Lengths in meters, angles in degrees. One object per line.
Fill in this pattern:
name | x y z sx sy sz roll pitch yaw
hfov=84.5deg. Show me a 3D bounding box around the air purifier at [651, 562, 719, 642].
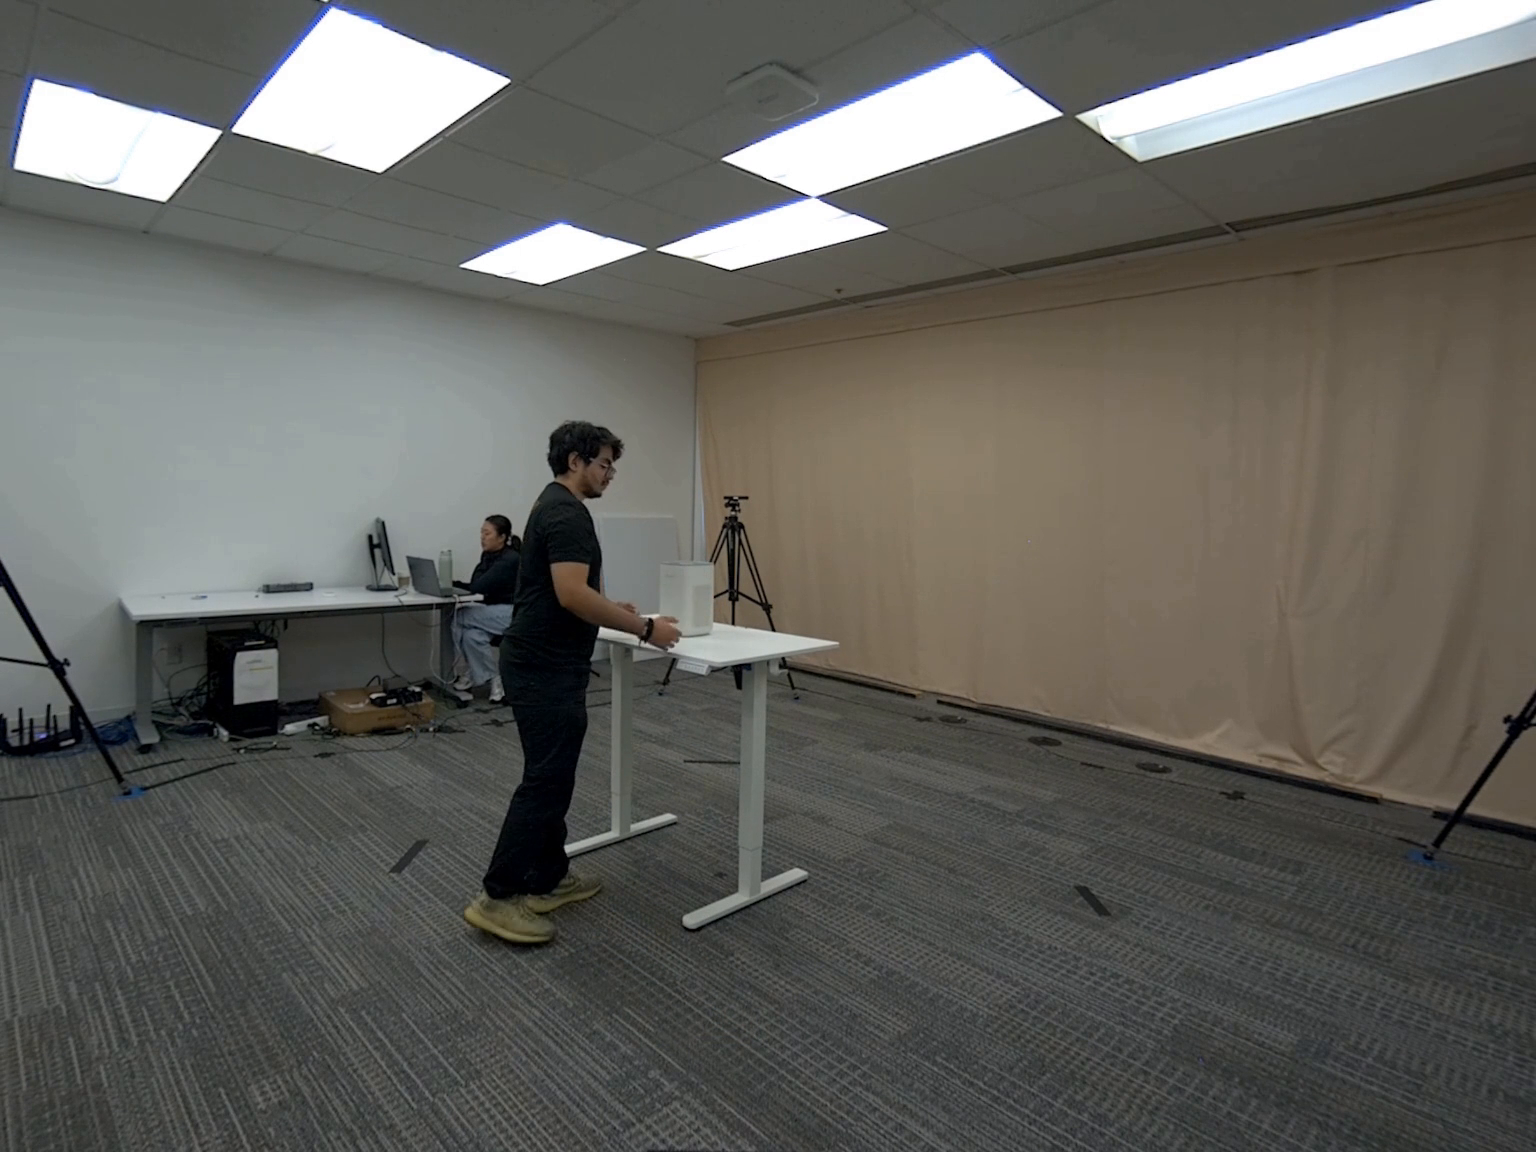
air purifier | -0.309 0.088 3.114 0.167 0.265 0.175 -1 4 -45
